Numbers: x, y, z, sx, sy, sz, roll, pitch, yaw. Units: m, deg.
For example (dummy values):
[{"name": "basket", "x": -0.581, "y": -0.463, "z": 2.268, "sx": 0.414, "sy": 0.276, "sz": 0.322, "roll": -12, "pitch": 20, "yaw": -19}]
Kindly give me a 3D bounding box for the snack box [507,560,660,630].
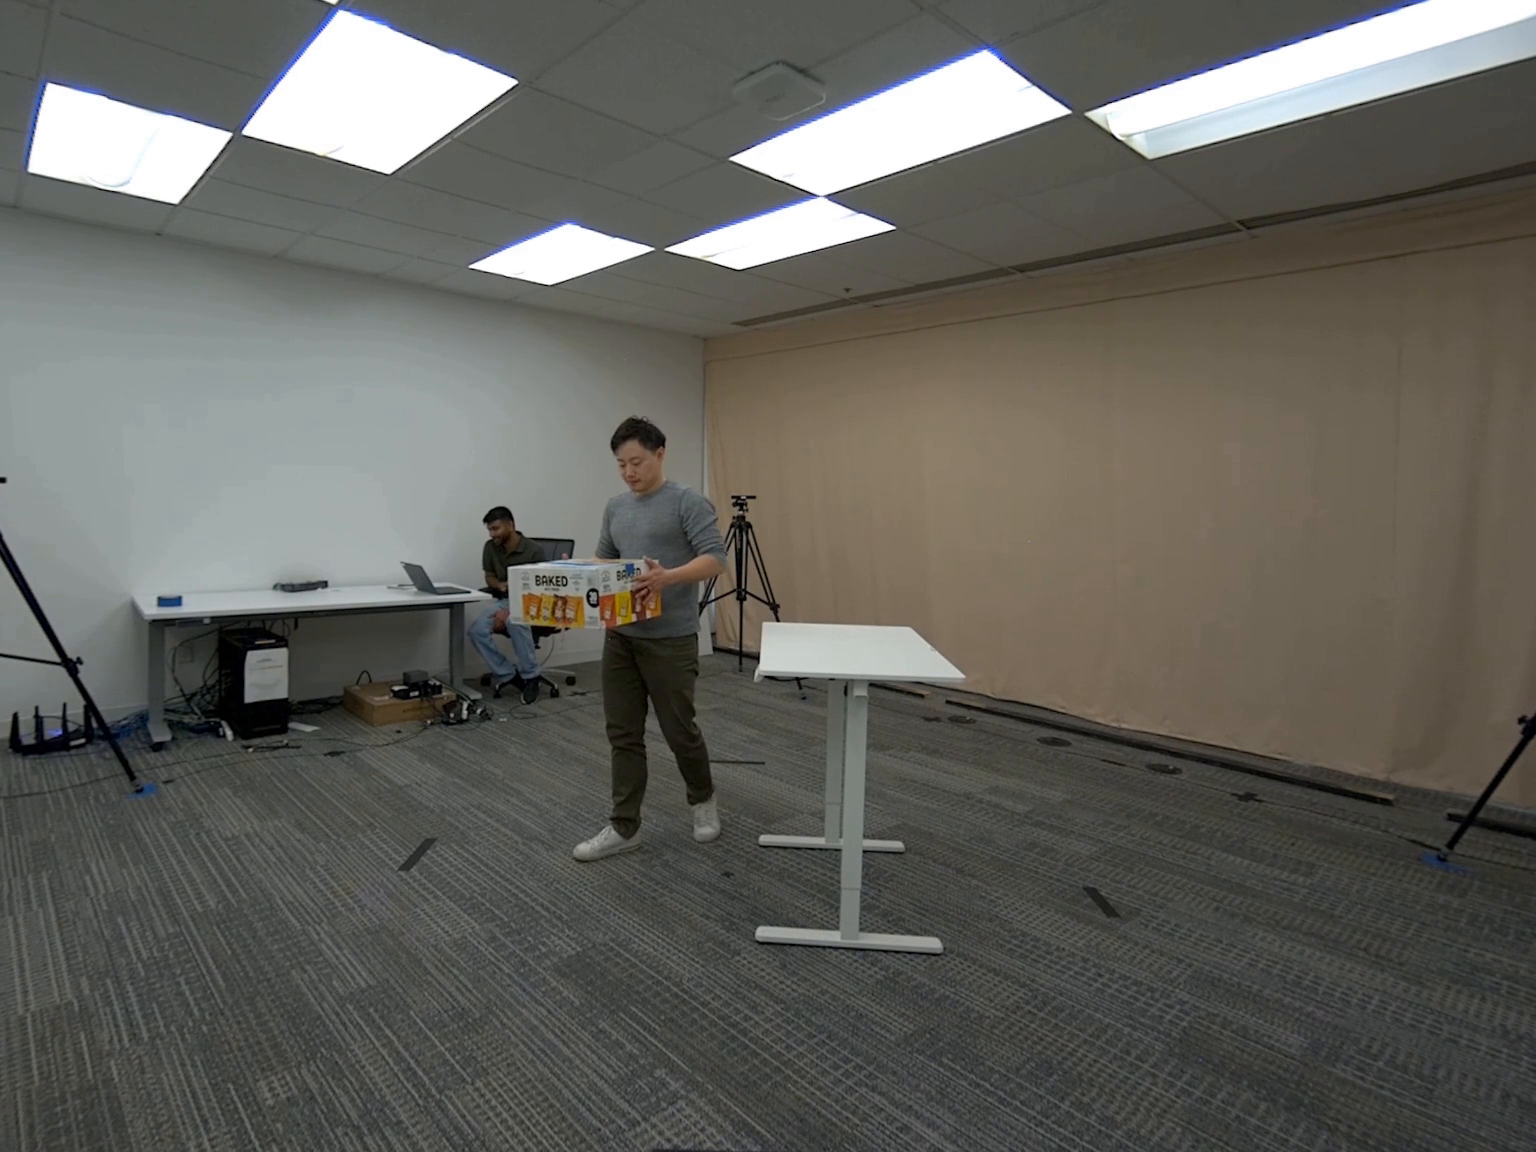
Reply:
[{"name": "snack box", "x": -0.653, "y": 0.060, "z": 2.976, "sx": 0.414, "sy": 0.205, "sz": 0.334, "roll": 2, "pitch": 6, "yaw": 30}]
